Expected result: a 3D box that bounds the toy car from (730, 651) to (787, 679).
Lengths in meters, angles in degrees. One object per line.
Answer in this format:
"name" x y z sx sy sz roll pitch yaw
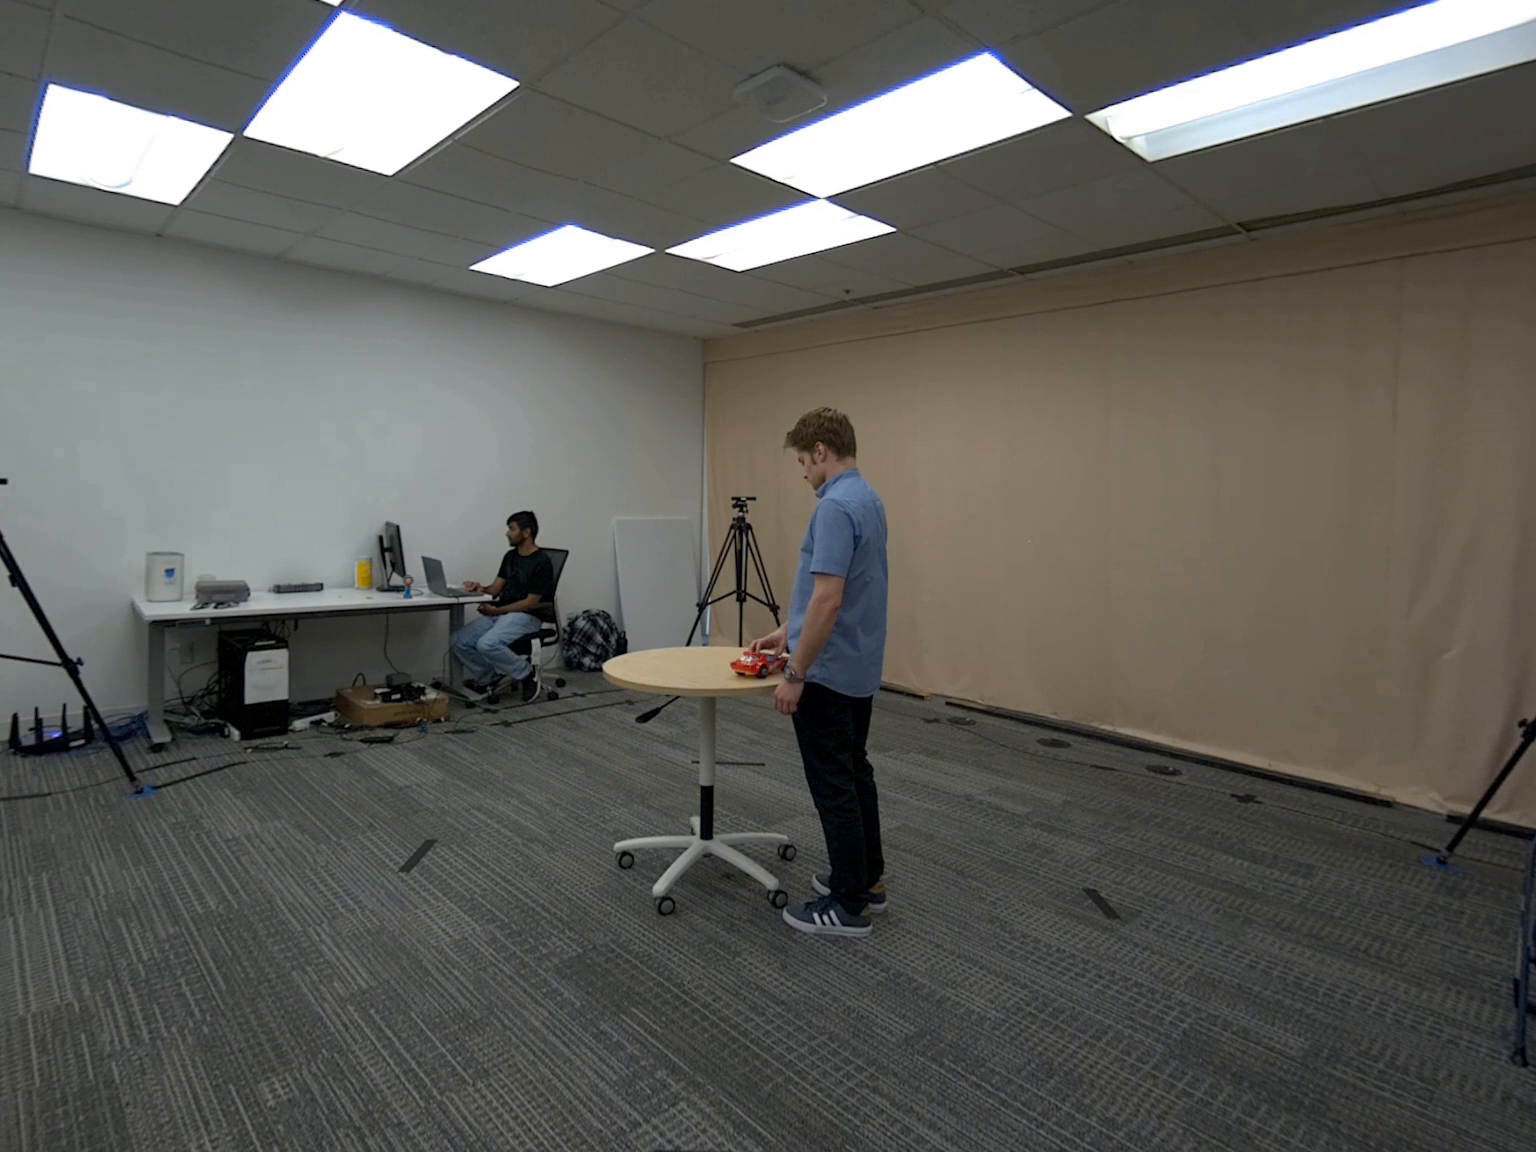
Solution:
"toy car" -0.028 0.309 2.914 0.133 0.083 0.247 6 -4 39
